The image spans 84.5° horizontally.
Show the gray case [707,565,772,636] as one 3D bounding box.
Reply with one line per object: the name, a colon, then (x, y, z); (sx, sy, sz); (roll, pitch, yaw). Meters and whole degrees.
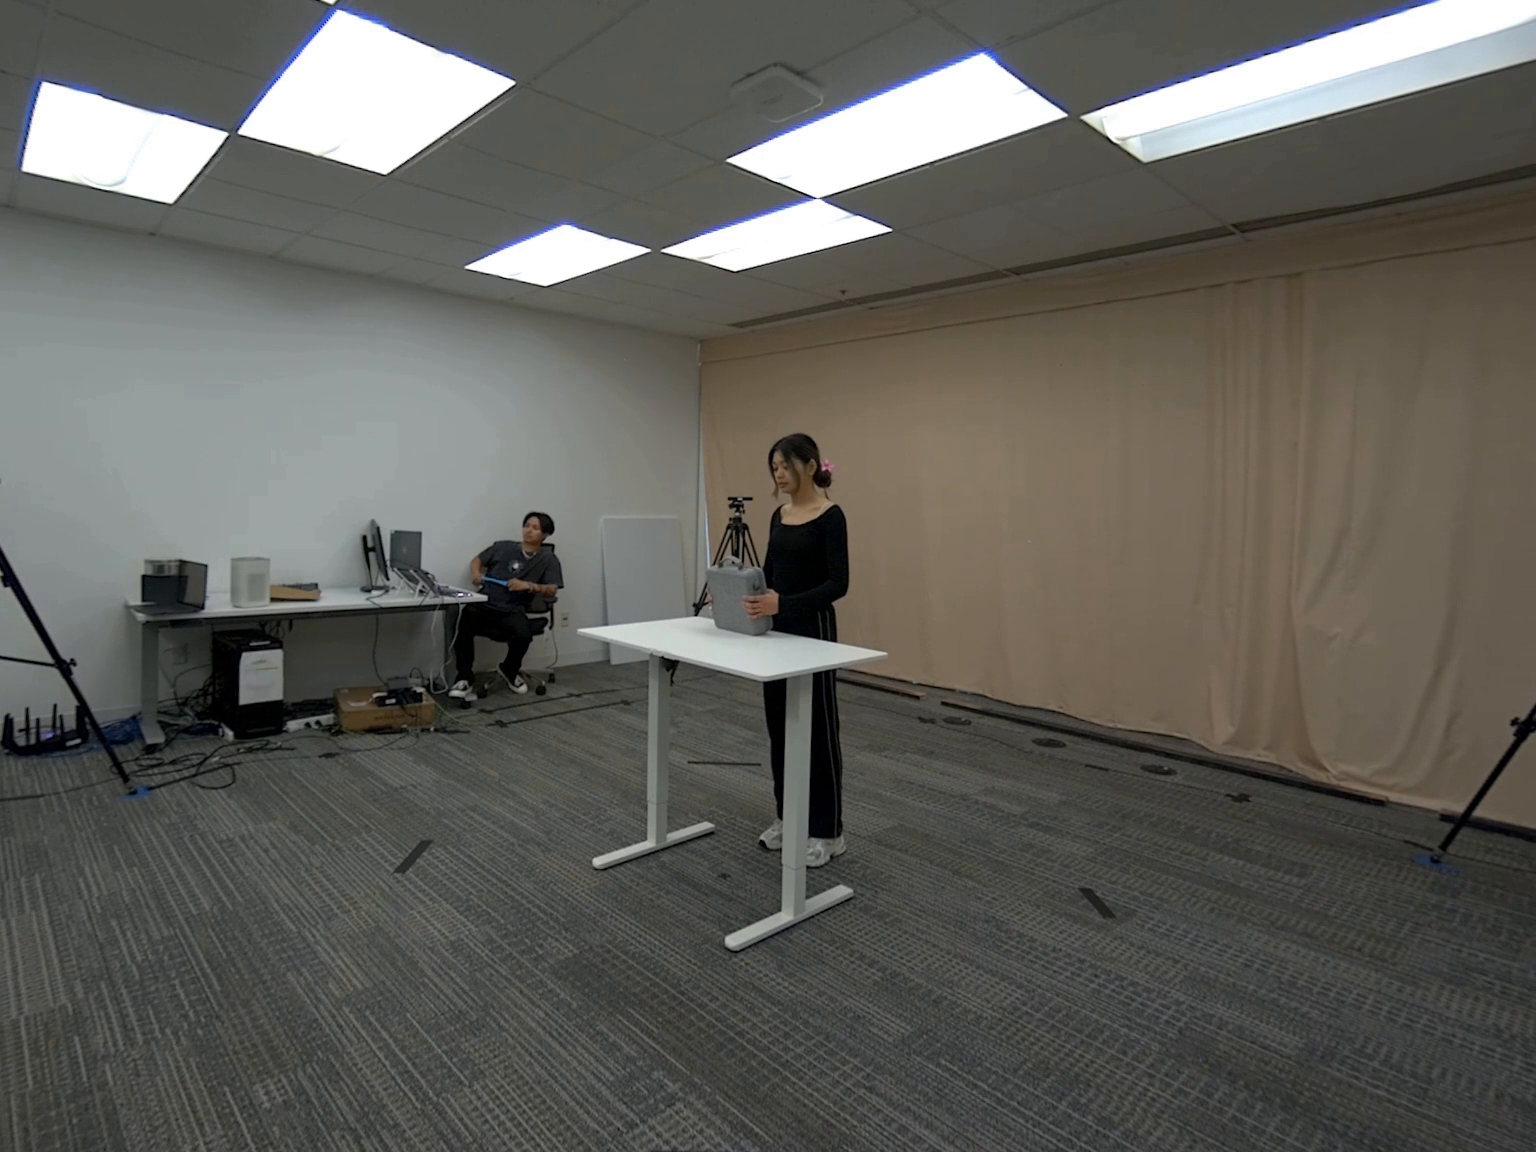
gray case: (-0.110, 0.083, 3.205); (0.103, 0.258, 0.263); (-16, 14, -33)
